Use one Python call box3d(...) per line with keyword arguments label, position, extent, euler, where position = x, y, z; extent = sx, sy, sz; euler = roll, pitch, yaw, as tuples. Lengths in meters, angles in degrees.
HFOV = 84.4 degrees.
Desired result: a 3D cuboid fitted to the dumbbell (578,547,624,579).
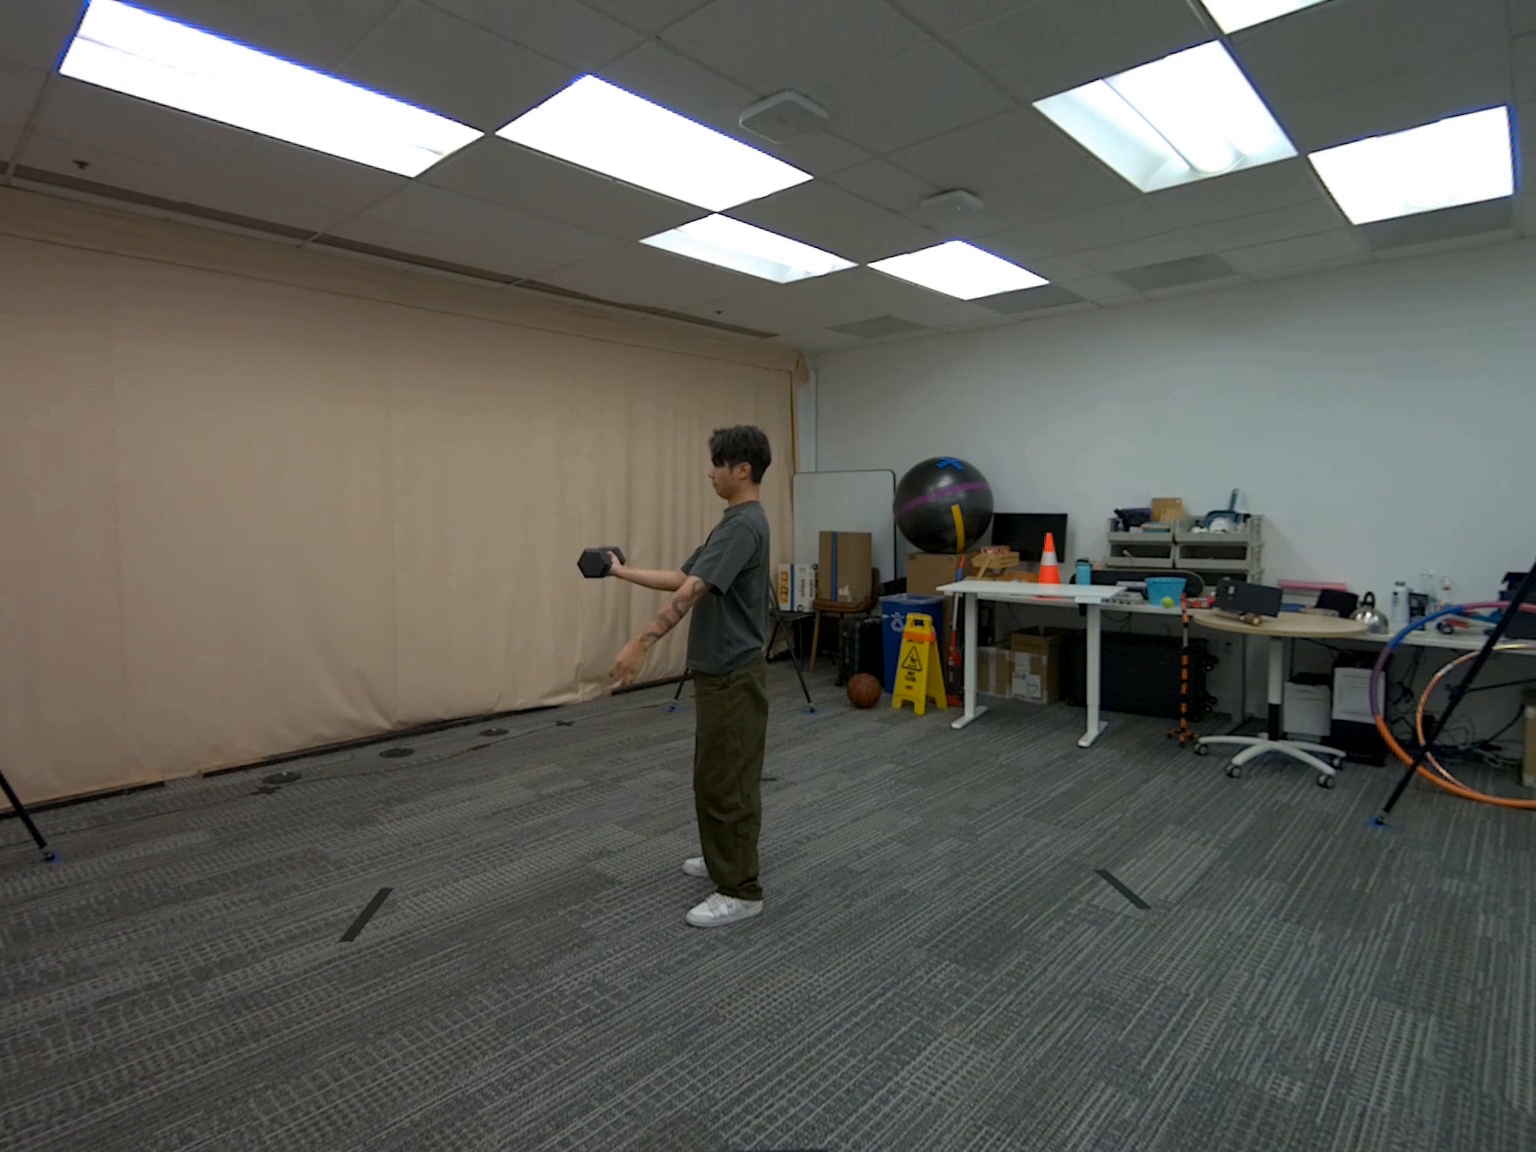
box3d(label="dumbbell", position=(-0.626, -0.054, 3.189), extent=(0.109, 0.123, 0.292), euler=(-29, 2, 6))
